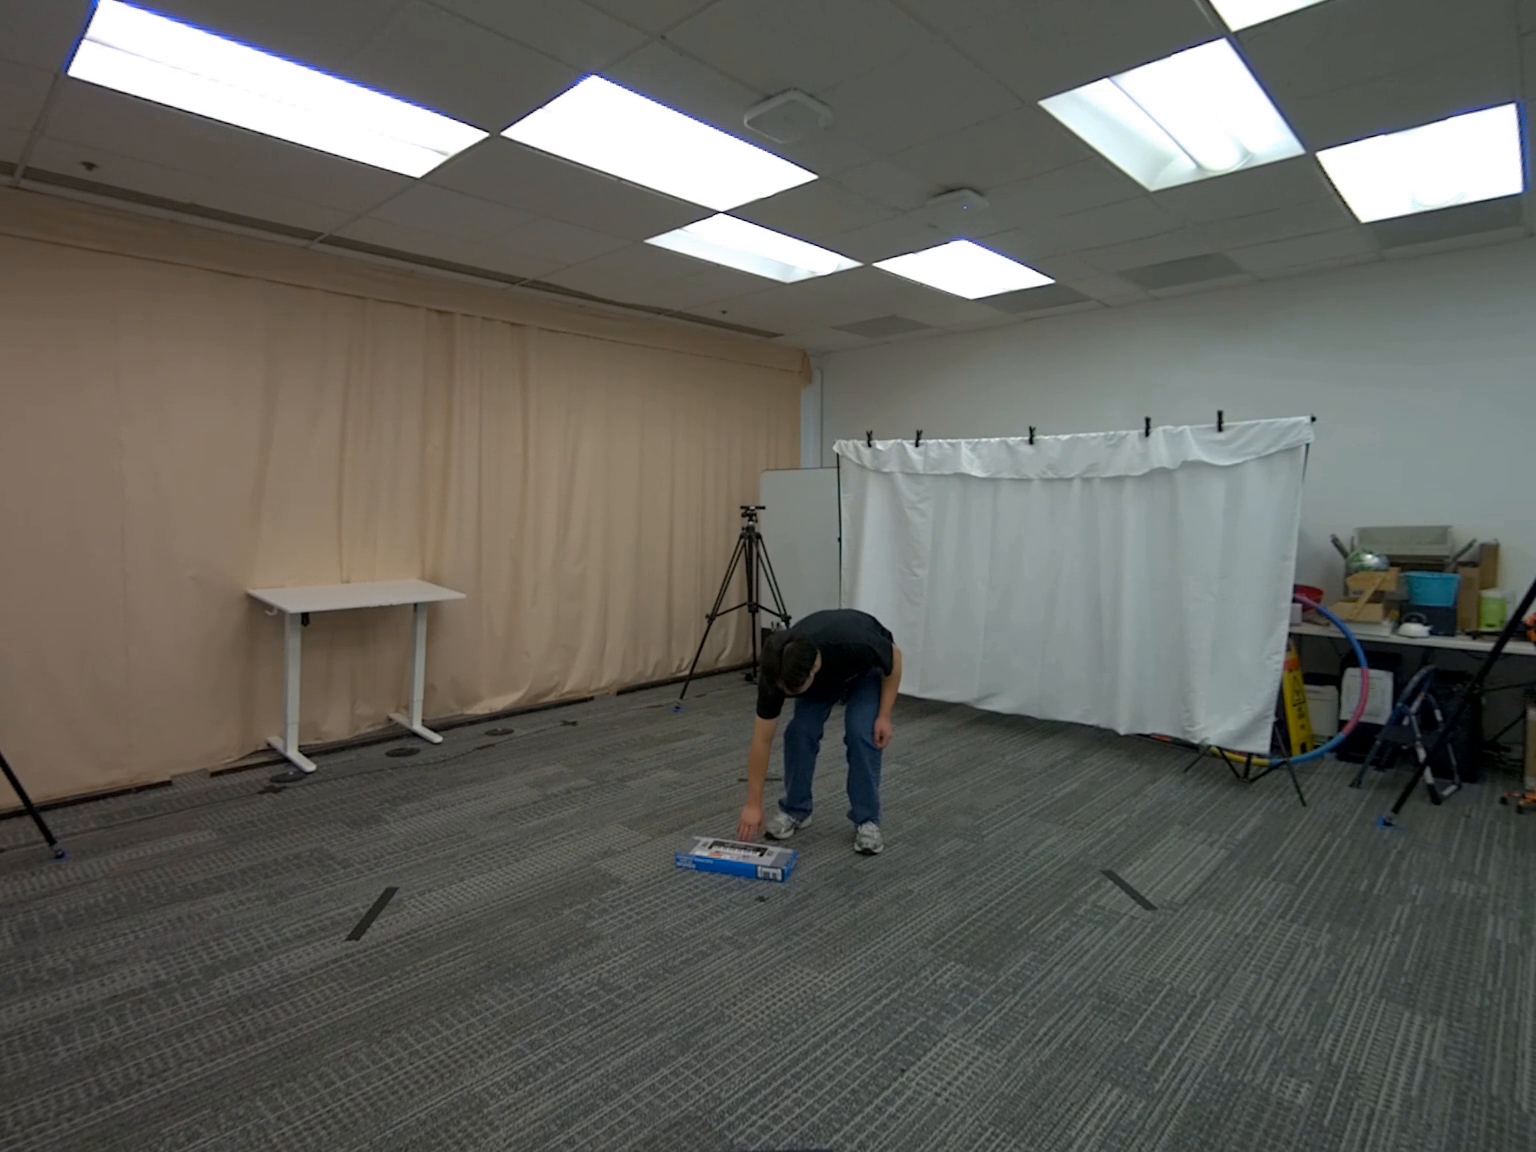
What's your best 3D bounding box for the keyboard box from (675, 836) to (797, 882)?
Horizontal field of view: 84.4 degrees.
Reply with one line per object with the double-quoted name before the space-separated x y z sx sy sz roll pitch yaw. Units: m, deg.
"keyboard box" -0.124 1.092 3.255 0.446 0.059 0.173 1 6 20
